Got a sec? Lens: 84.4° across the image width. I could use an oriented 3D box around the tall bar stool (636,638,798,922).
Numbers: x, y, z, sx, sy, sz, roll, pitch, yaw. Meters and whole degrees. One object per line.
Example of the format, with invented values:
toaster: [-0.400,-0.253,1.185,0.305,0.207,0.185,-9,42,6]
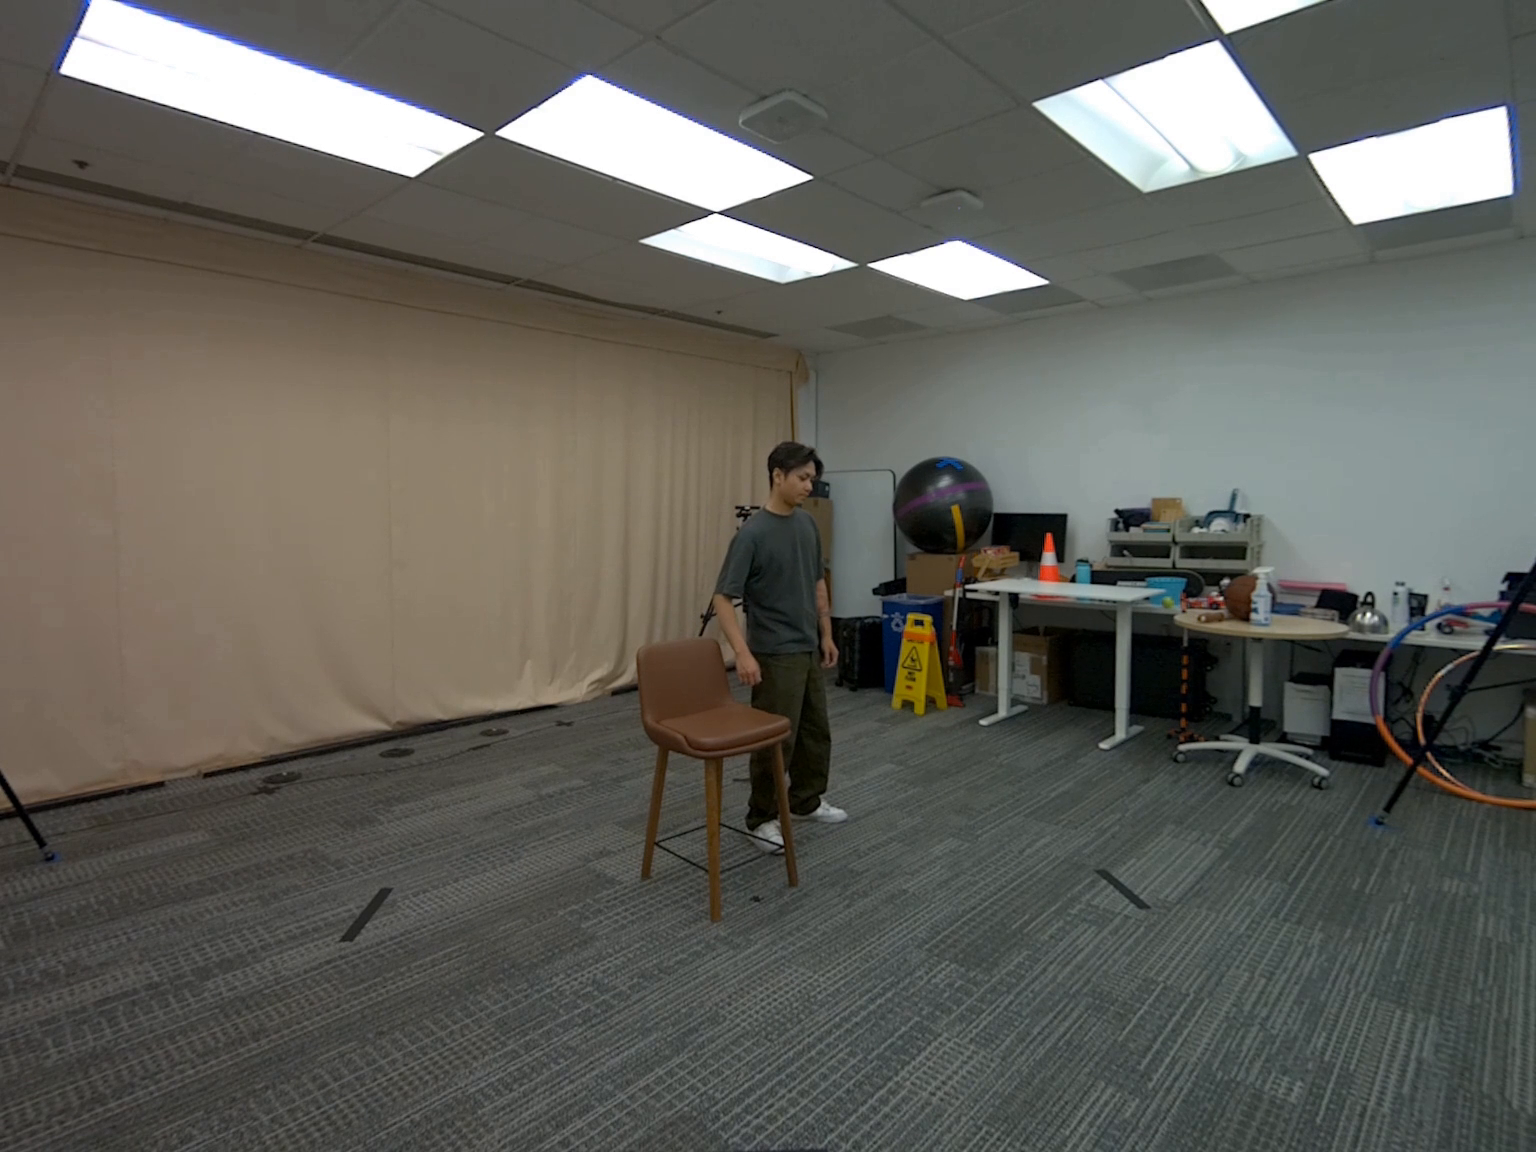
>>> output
tall bar stool: [-0.197,0.701,3.093,0.442,0.889,0.483,-3,2,-42]
